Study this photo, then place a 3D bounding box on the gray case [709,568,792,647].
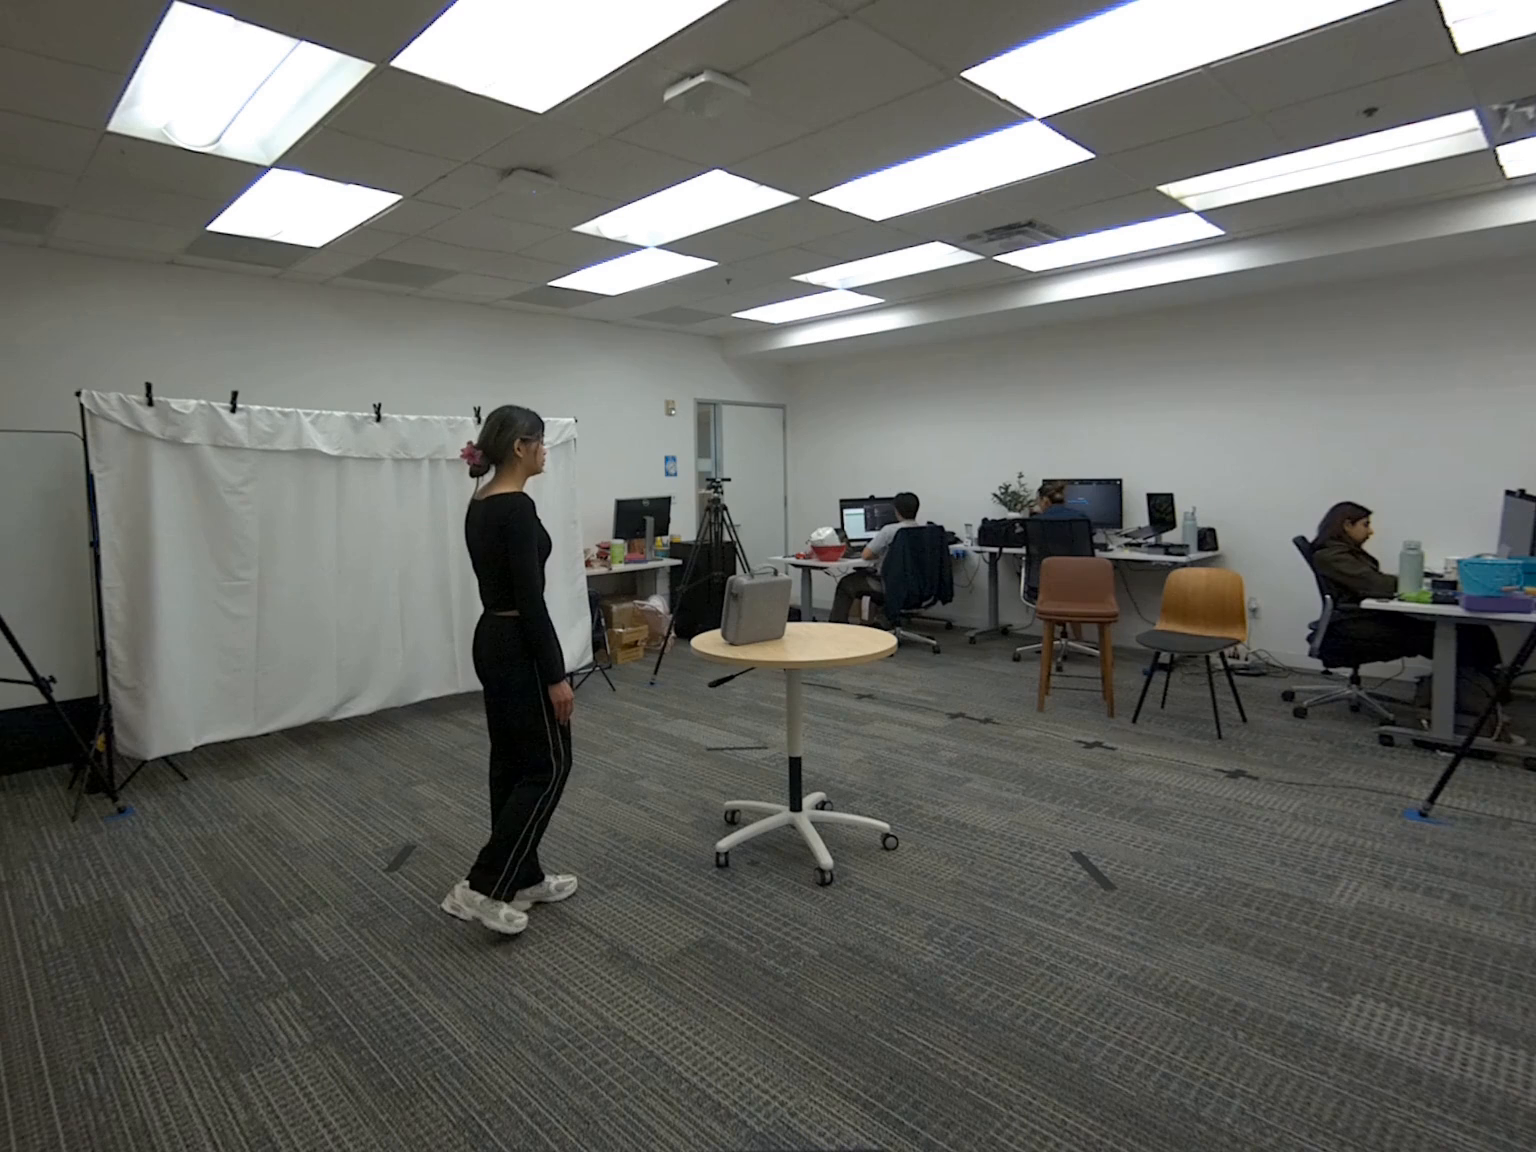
[{"bbox_3d":[-0.040,0.112,3.157,0.250,0.258,0.108,-5,18,-37],"label":"gray case"}]
